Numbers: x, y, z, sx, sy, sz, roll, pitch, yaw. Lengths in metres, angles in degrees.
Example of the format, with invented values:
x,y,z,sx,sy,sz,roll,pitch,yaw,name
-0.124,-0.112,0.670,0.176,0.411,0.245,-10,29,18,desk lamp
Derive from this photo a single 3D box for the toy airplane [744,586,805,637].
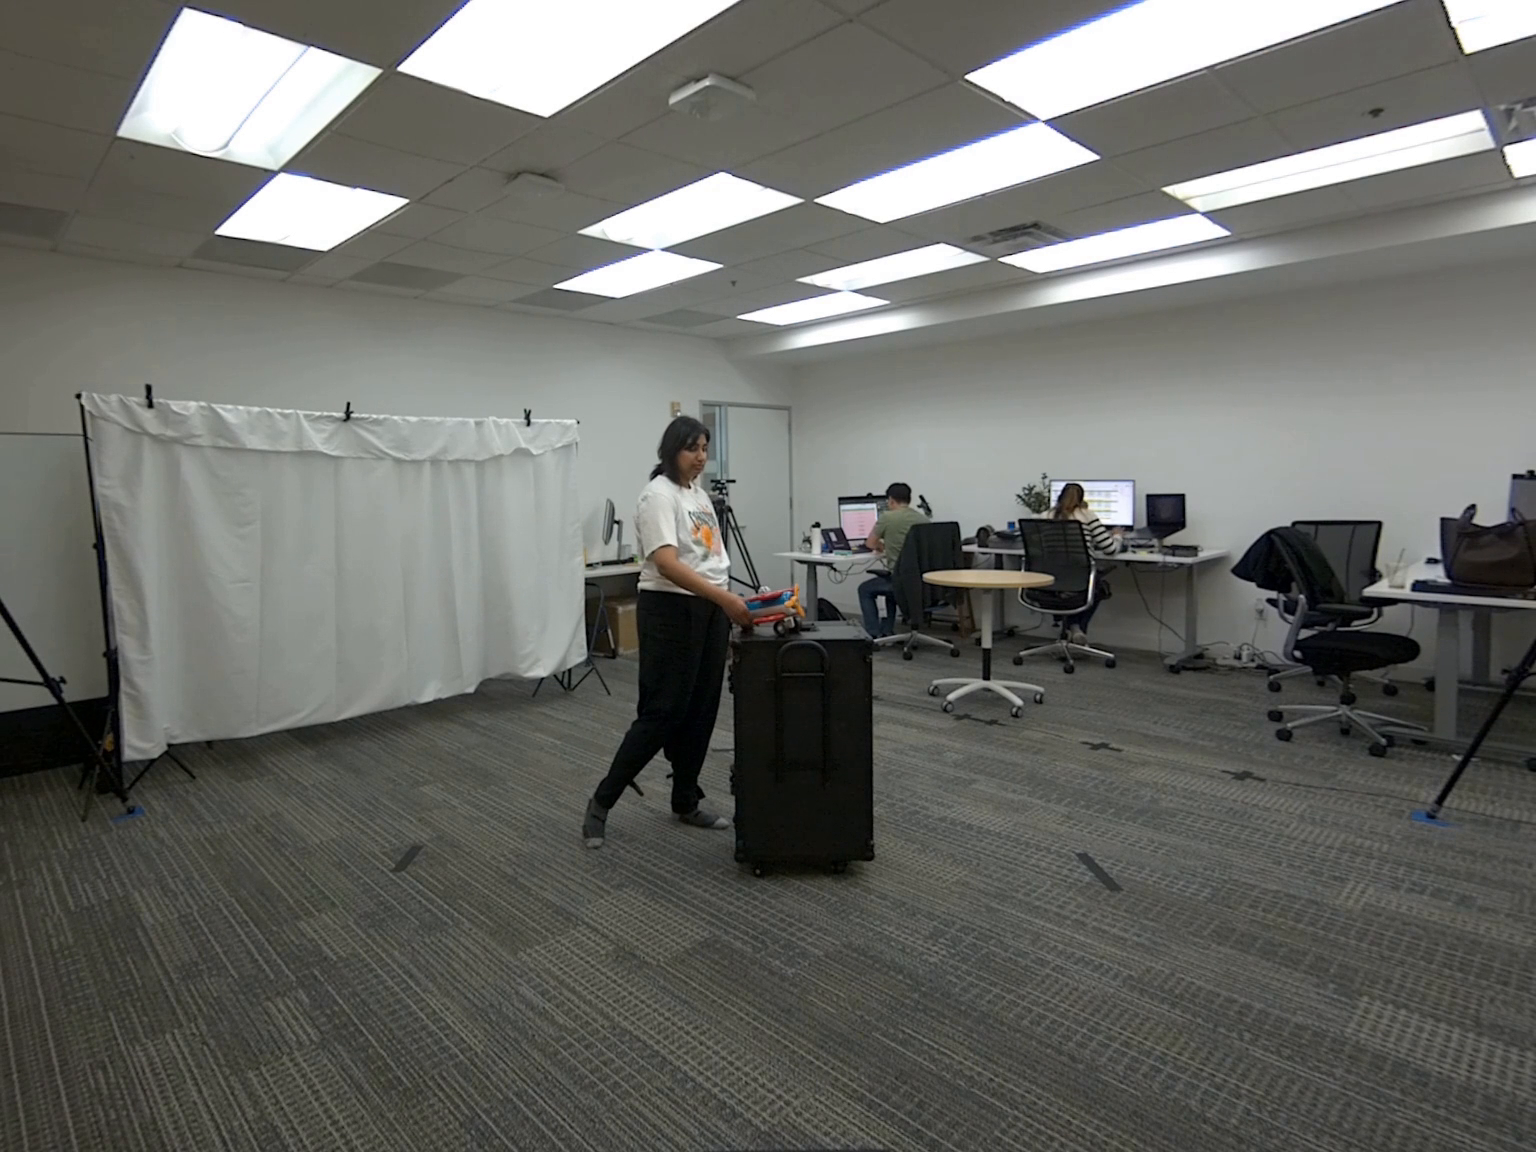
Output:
x,y,z,sx,sy,sz,roll,pitch,yaw,name
0.002,0.123,3.058,0.261,0.155,0.251,0,8,8,toy airplane
